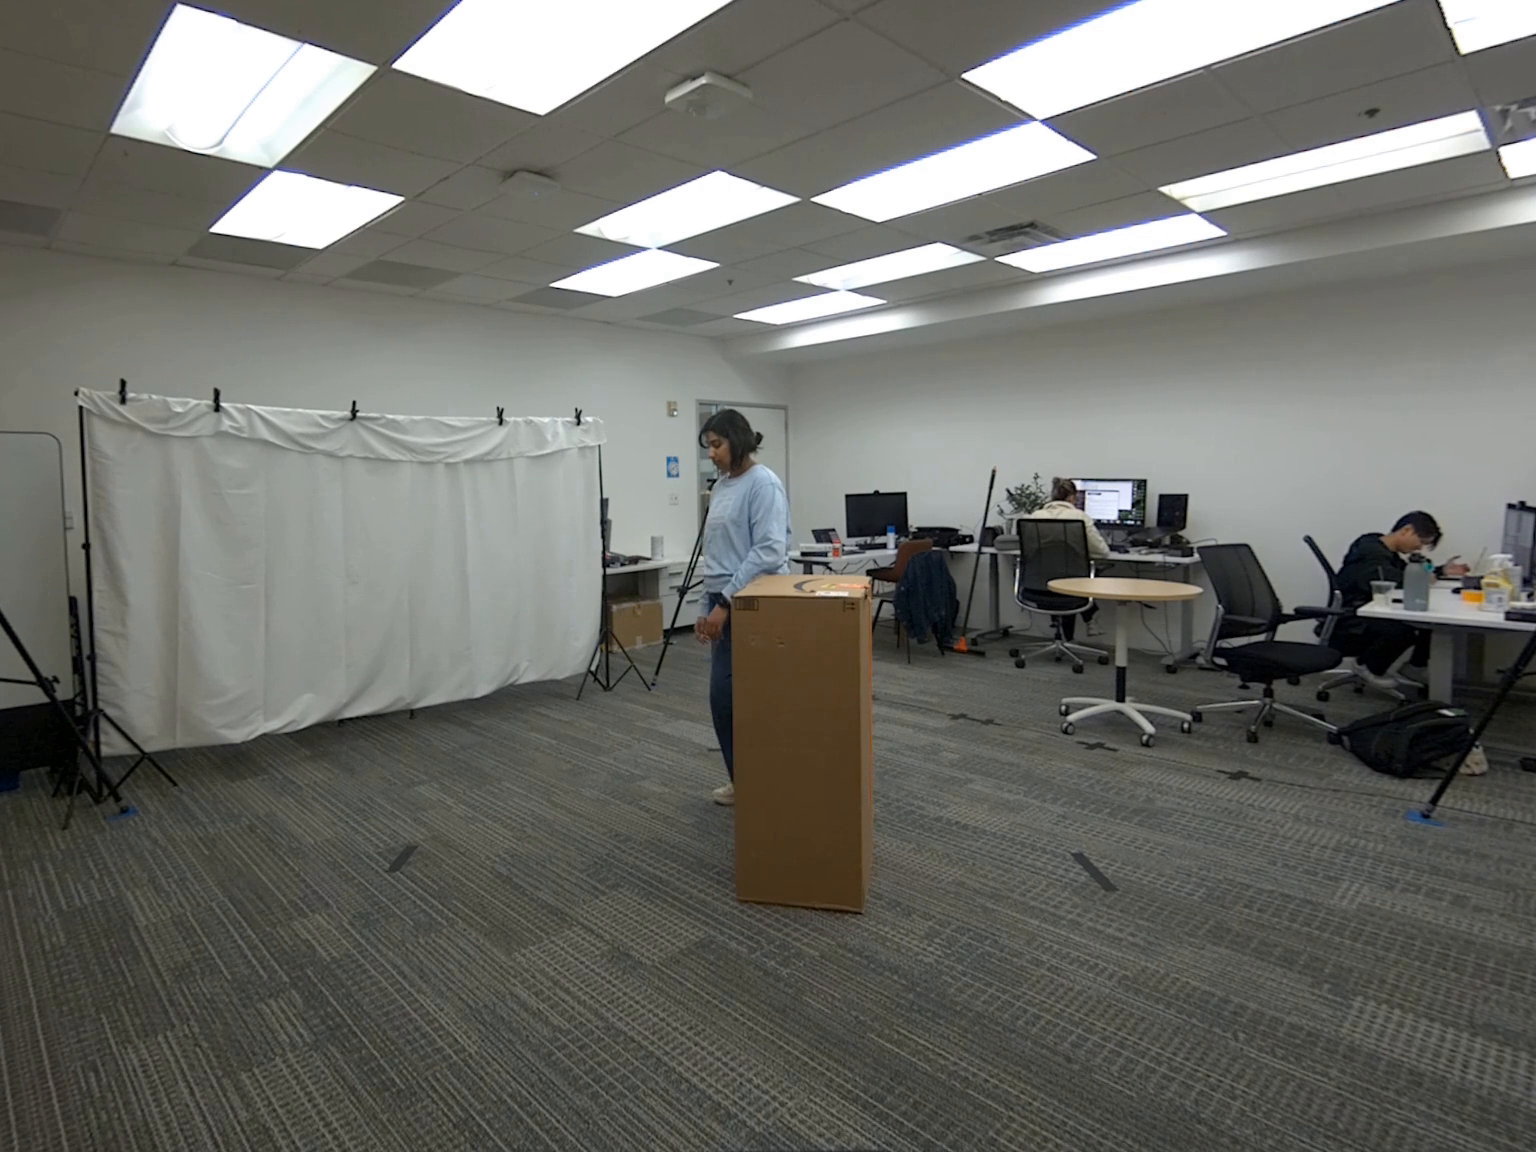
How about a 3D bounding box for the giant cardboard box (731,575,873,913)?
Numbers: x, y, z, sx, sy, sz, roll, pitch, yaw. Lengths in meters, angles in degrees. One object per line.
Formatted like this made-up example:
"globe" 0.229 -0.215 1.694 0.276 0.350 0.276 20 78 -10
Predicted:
"giant cardboard box" 0.148 0.543 3.025 0.431 1.022 0.573 0 4 11
